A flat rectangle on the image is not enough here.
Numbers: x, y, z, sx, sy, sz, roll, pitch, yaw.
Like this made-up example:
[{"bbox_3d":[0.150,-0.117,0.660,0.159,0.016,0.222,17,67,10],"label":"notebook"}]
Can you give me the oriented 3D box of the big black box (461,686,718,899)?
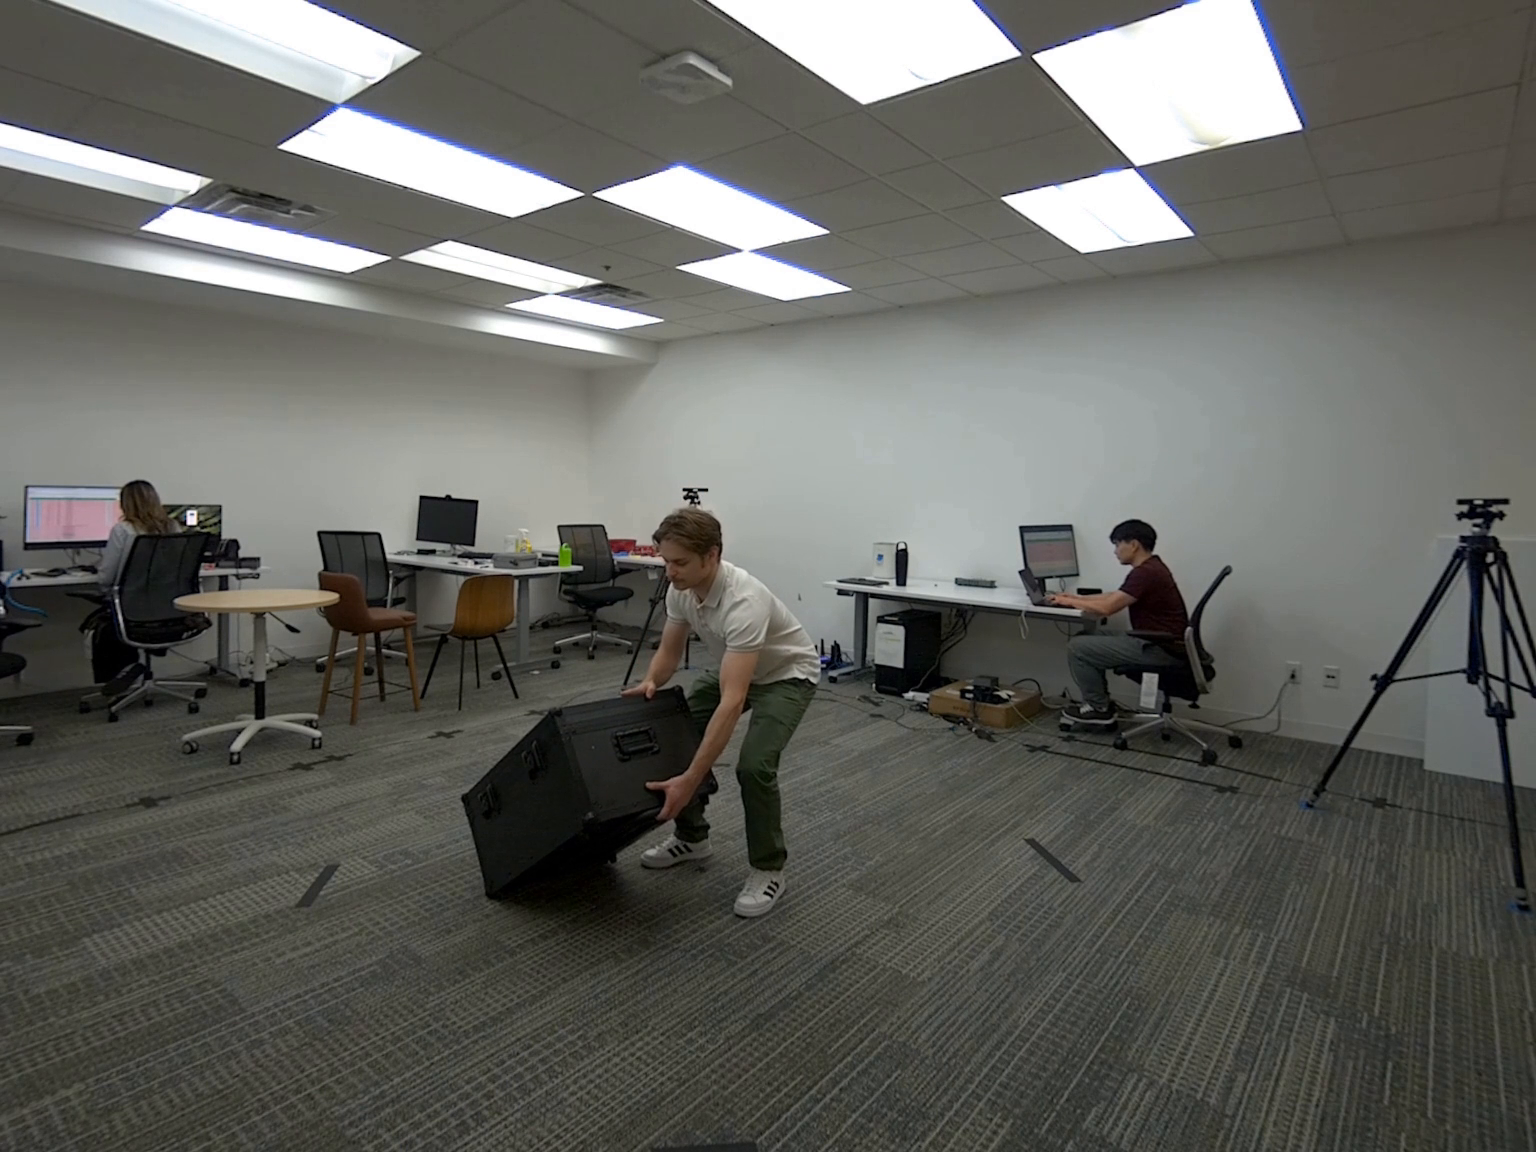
[{"bbox_3d":[-0.641,0.744,2.857,0.508,0.396,0.871,-5,-28,-43],"label":"big black box"}]
